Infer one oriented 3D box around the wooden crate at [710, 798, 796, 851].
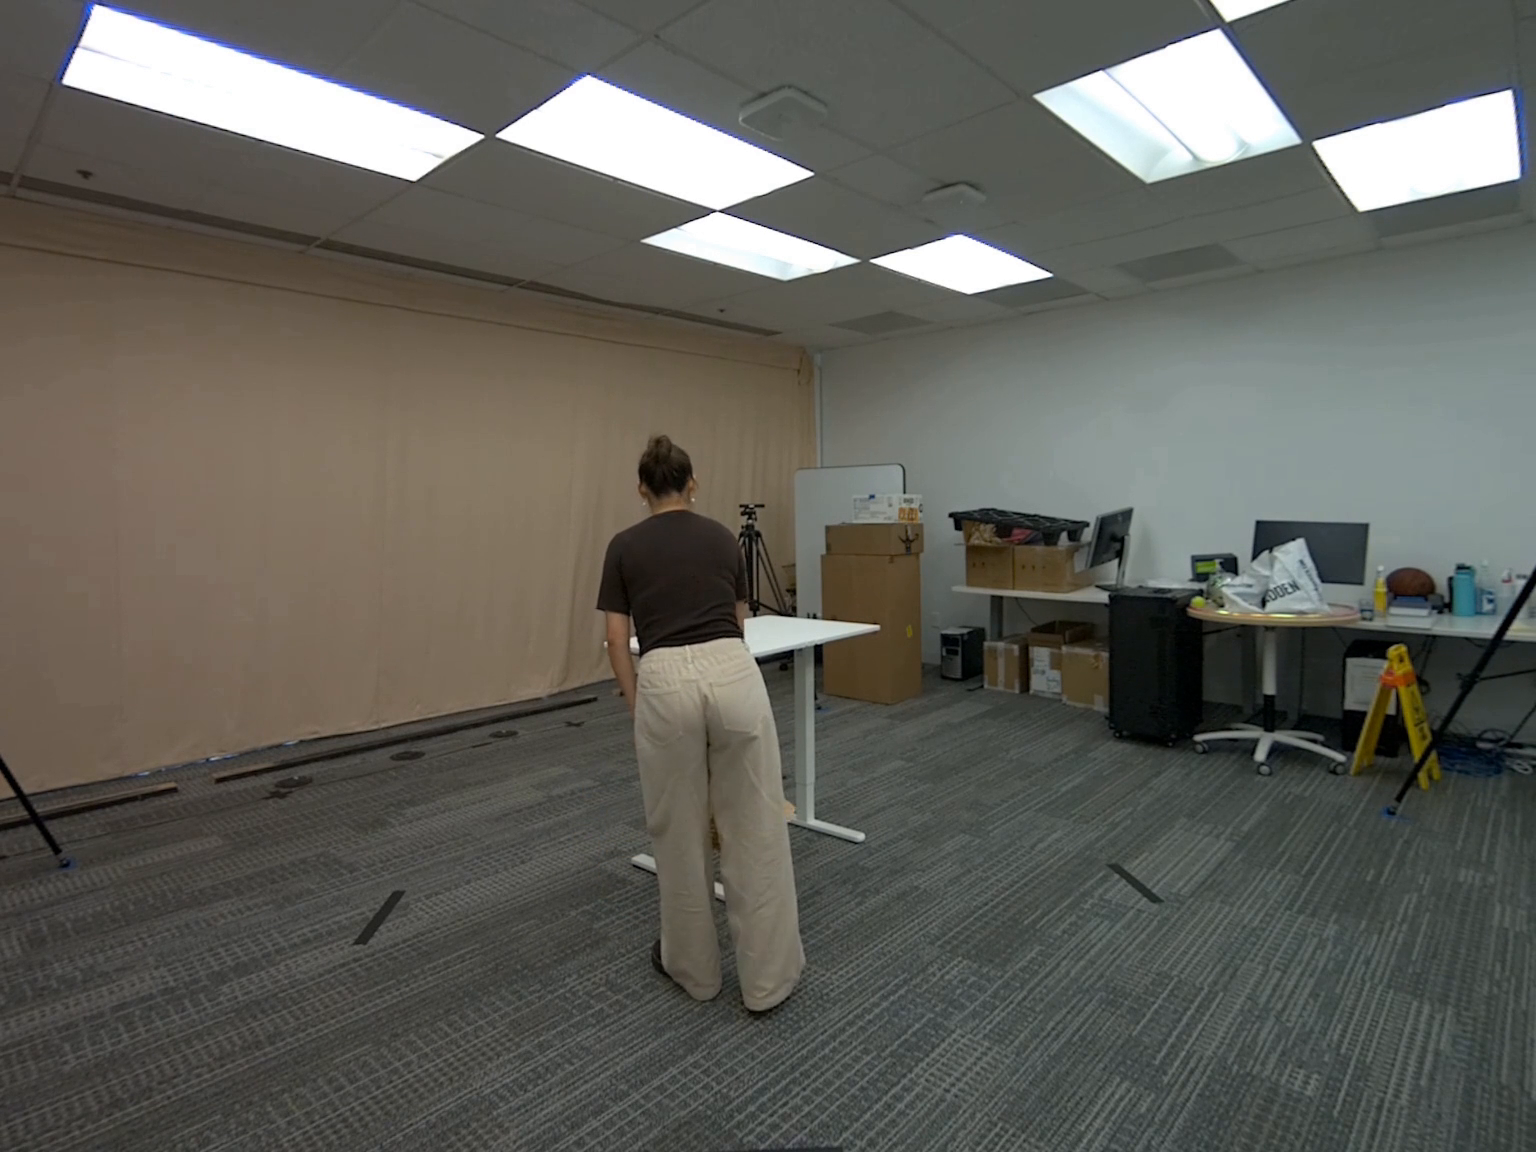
[{"bbox_3d":[-0.092,0.690,2.660,0.300,0.278,0.321,5,-35,-8],"label":"wooden crate"}]
